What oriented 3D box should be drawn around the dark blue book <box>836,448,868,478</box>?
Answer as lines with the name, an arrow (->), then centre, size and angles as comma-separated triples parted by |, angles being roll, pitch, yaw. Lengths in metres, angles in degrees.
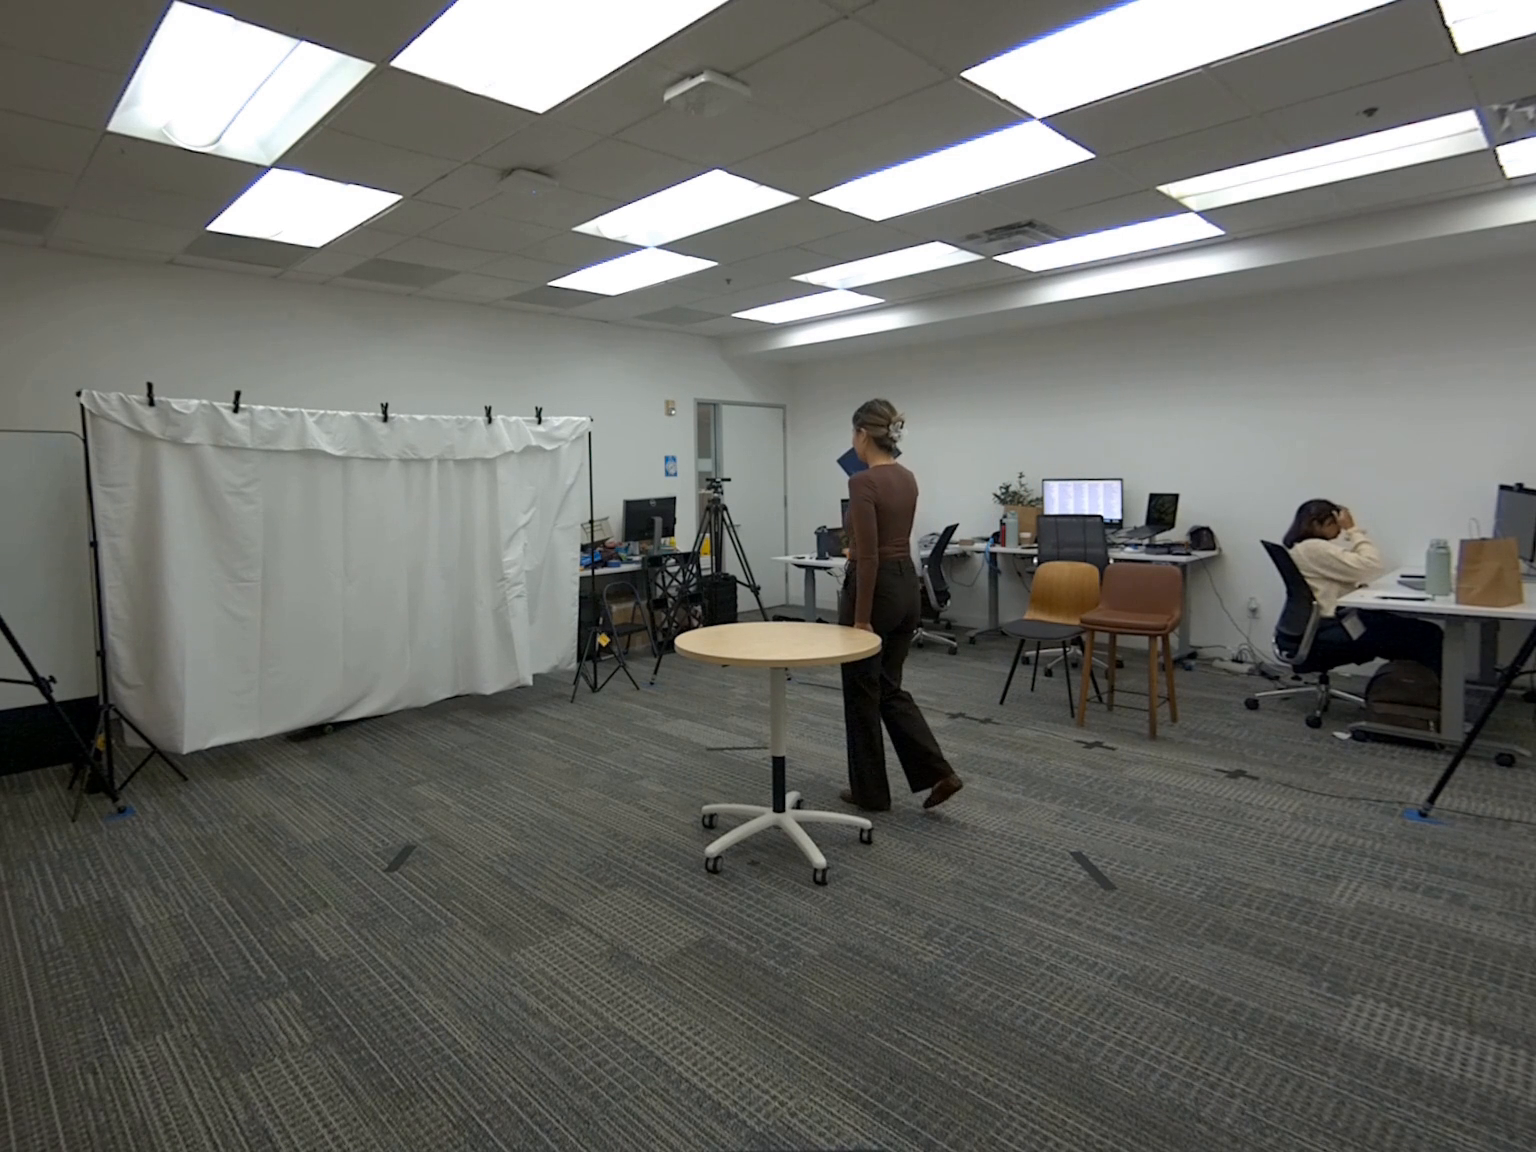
dark blue book -> 0.465, -0.535, 3.826 | 0.245, 0.166, 0.044 | -40, -14, 14
